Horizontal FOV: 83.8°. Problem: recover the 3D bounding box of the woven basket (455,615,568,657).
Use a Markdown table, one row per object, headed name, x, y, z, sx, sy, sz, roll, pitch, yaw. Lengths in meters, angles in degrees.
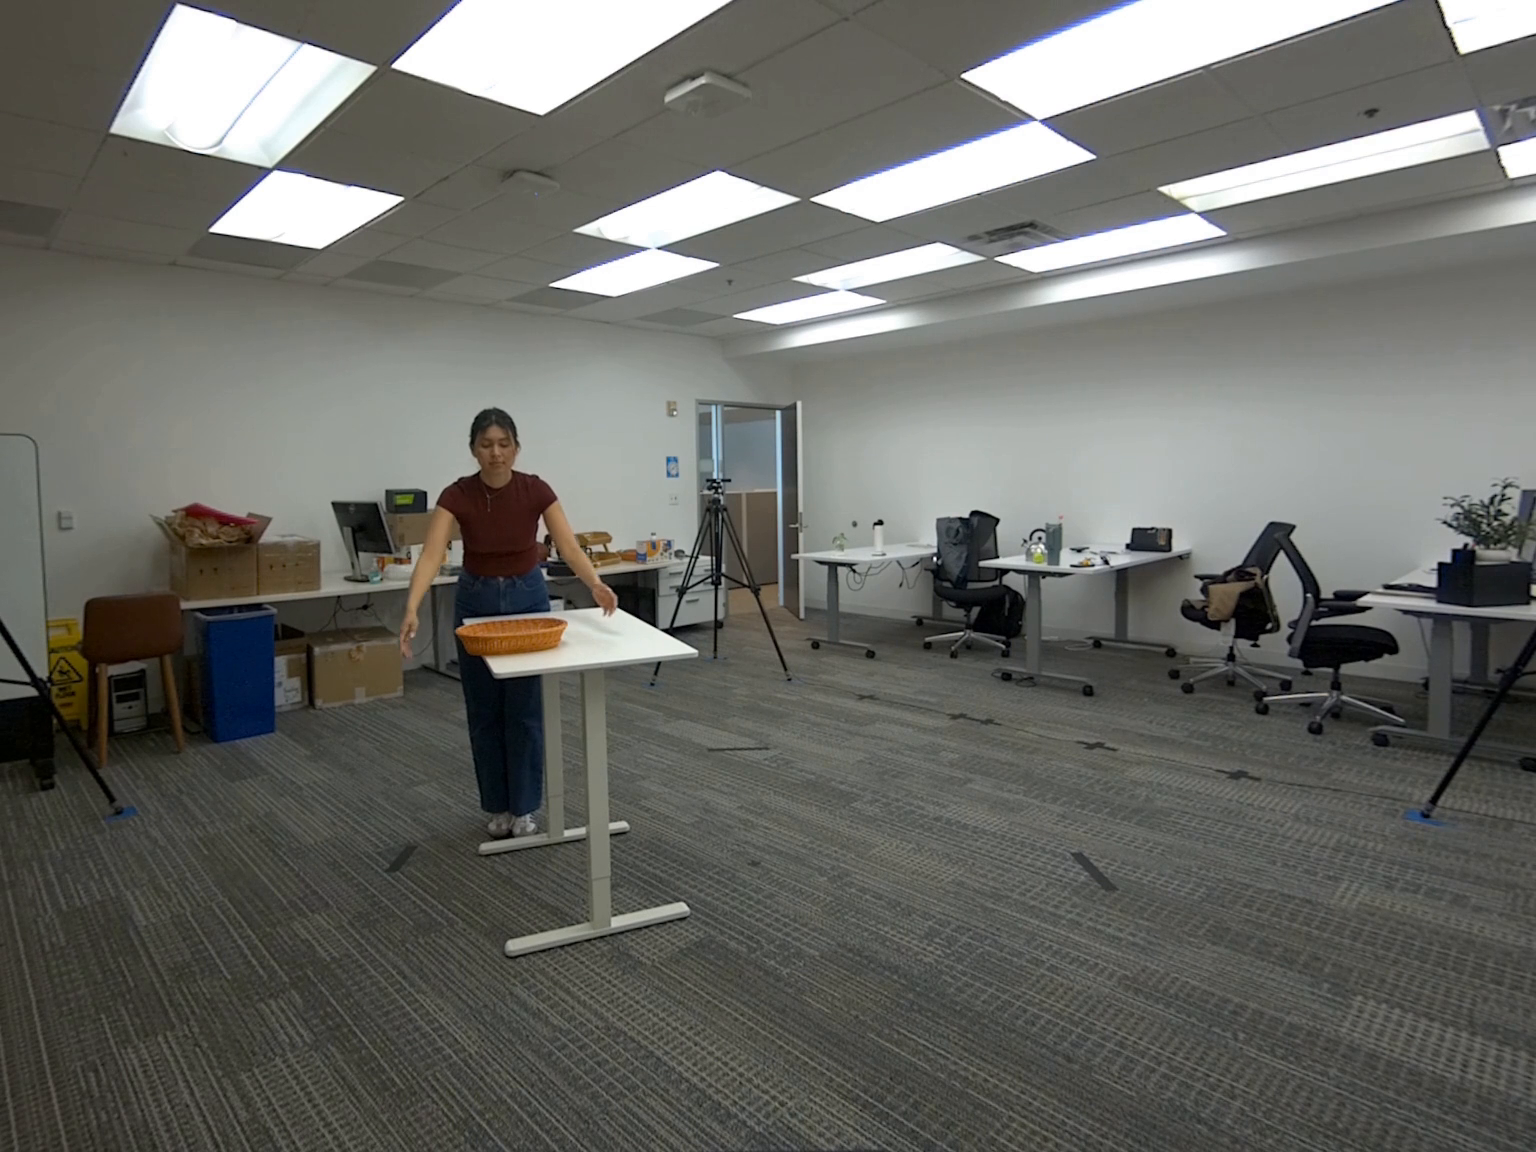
| name | x | y | z | sx | sy | sz | roll | pitch | yaw |
| --- | --- | --- | --- | --- | --- | --- | --- | --- | --- |
| woven basket | -0.810 | 0.201 | 2.677 | 0.345 | 0.073 | 0.258 | -4 | 8 | -17 |
